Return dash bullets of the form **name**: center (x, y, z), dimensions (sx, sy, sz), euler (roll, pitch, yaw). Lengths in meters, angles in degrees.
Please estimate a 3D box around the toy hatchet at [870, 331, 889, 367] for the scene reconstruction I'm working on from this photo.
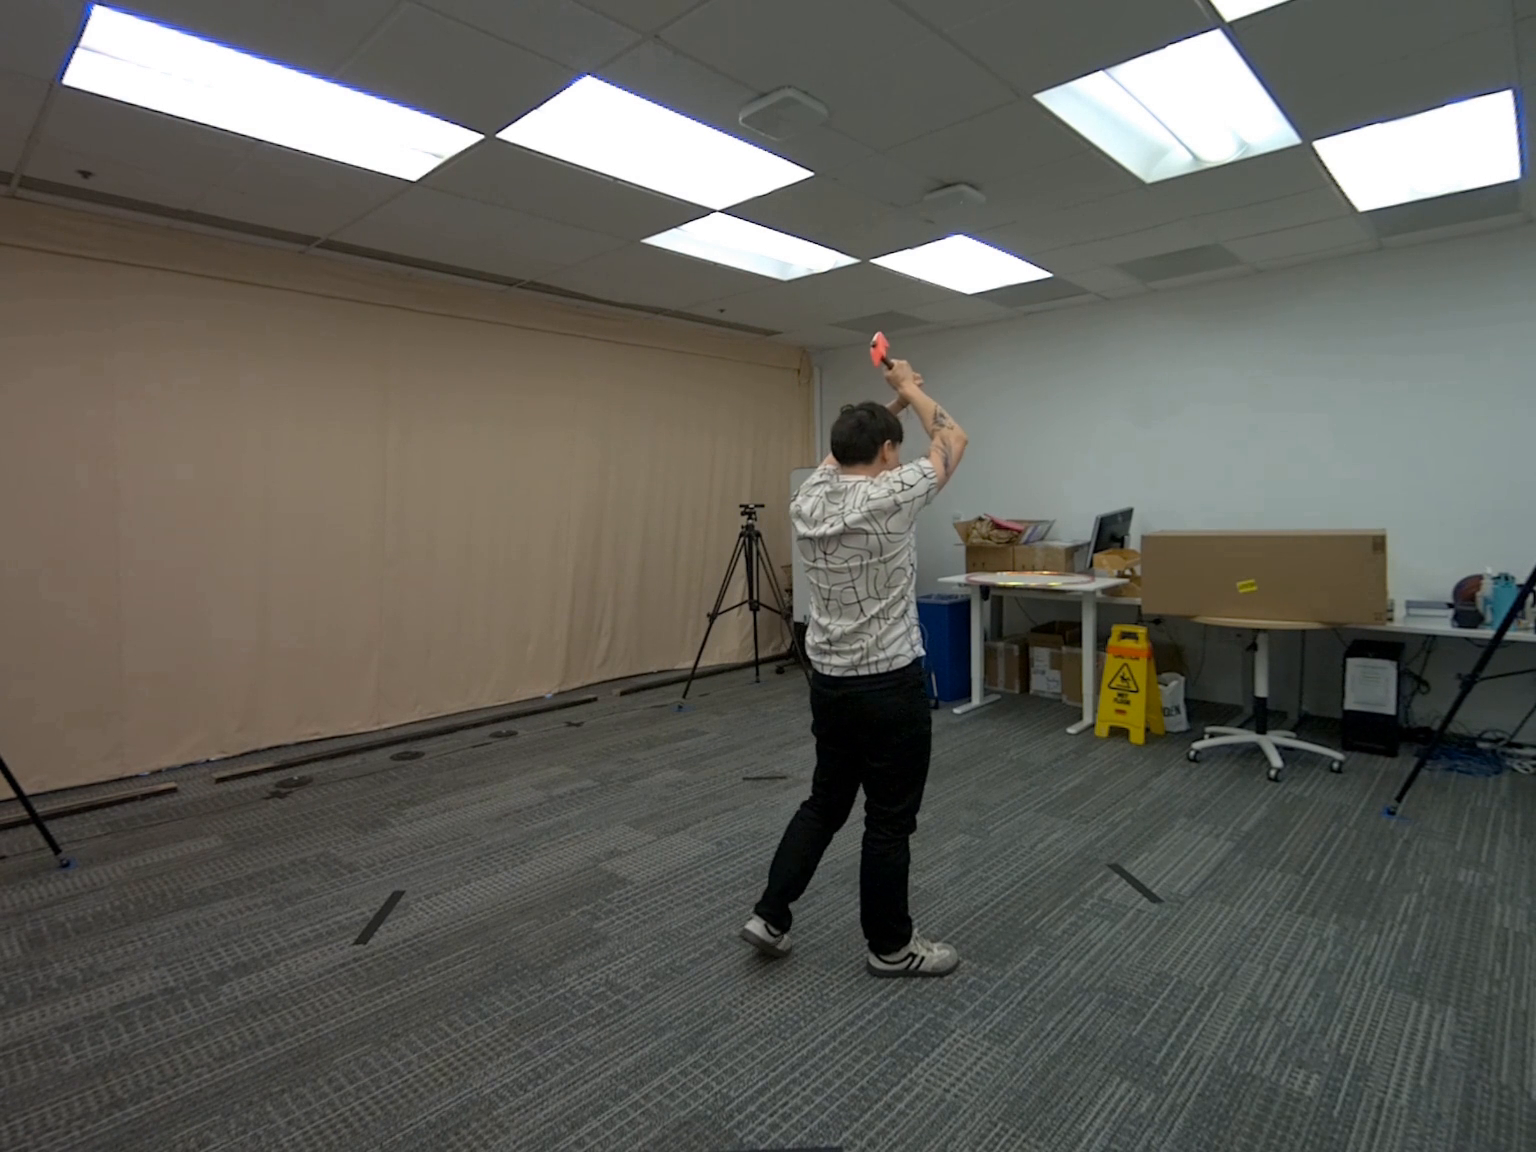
- **toy hatchet**: center (0.398, -0.655, 2.571), dimensions (0.030, 0.132, 0.260), euler (-18, -20, 37)
